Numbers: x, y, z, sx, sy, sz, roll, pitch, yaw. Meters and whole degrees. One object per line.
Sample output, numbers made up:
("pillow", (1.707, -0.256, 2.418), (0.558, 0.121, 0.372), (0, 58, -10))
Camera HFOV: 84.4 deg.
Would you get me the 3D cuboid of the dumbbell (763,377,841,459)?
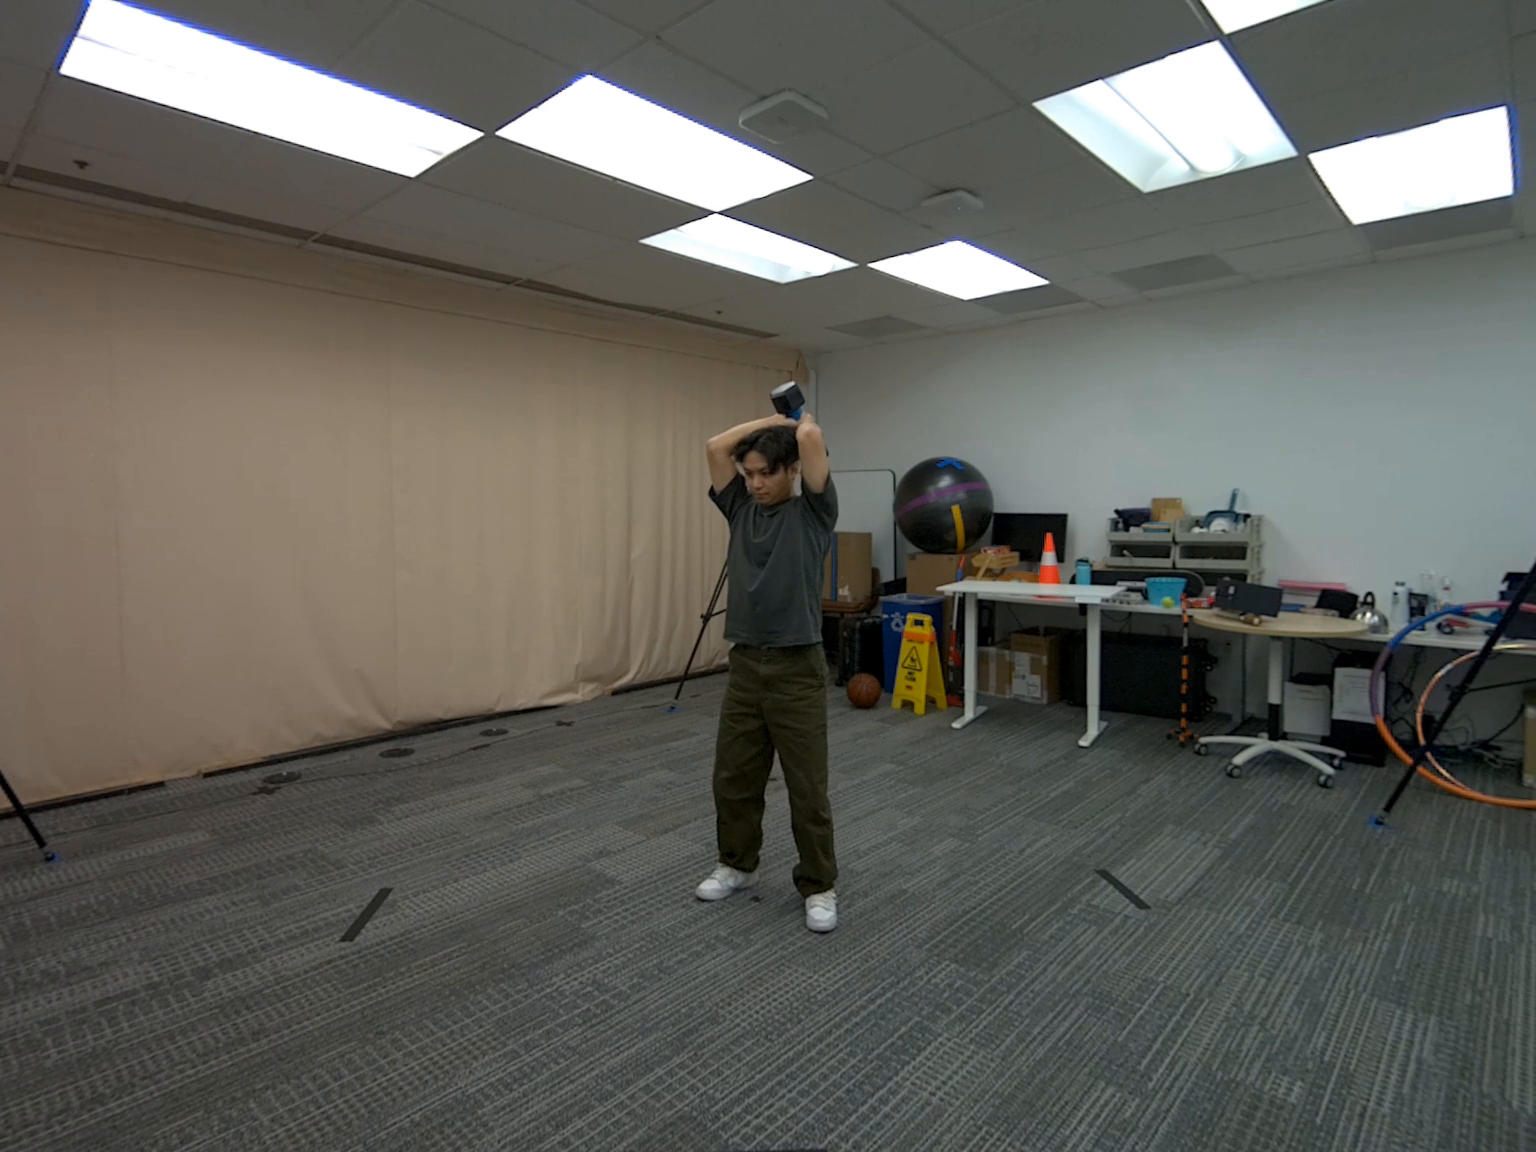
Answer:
("dumbbell", (0.118, -0.540, 2.986), (0.122, 0.288, 0.112), (-35, 21, -17))
